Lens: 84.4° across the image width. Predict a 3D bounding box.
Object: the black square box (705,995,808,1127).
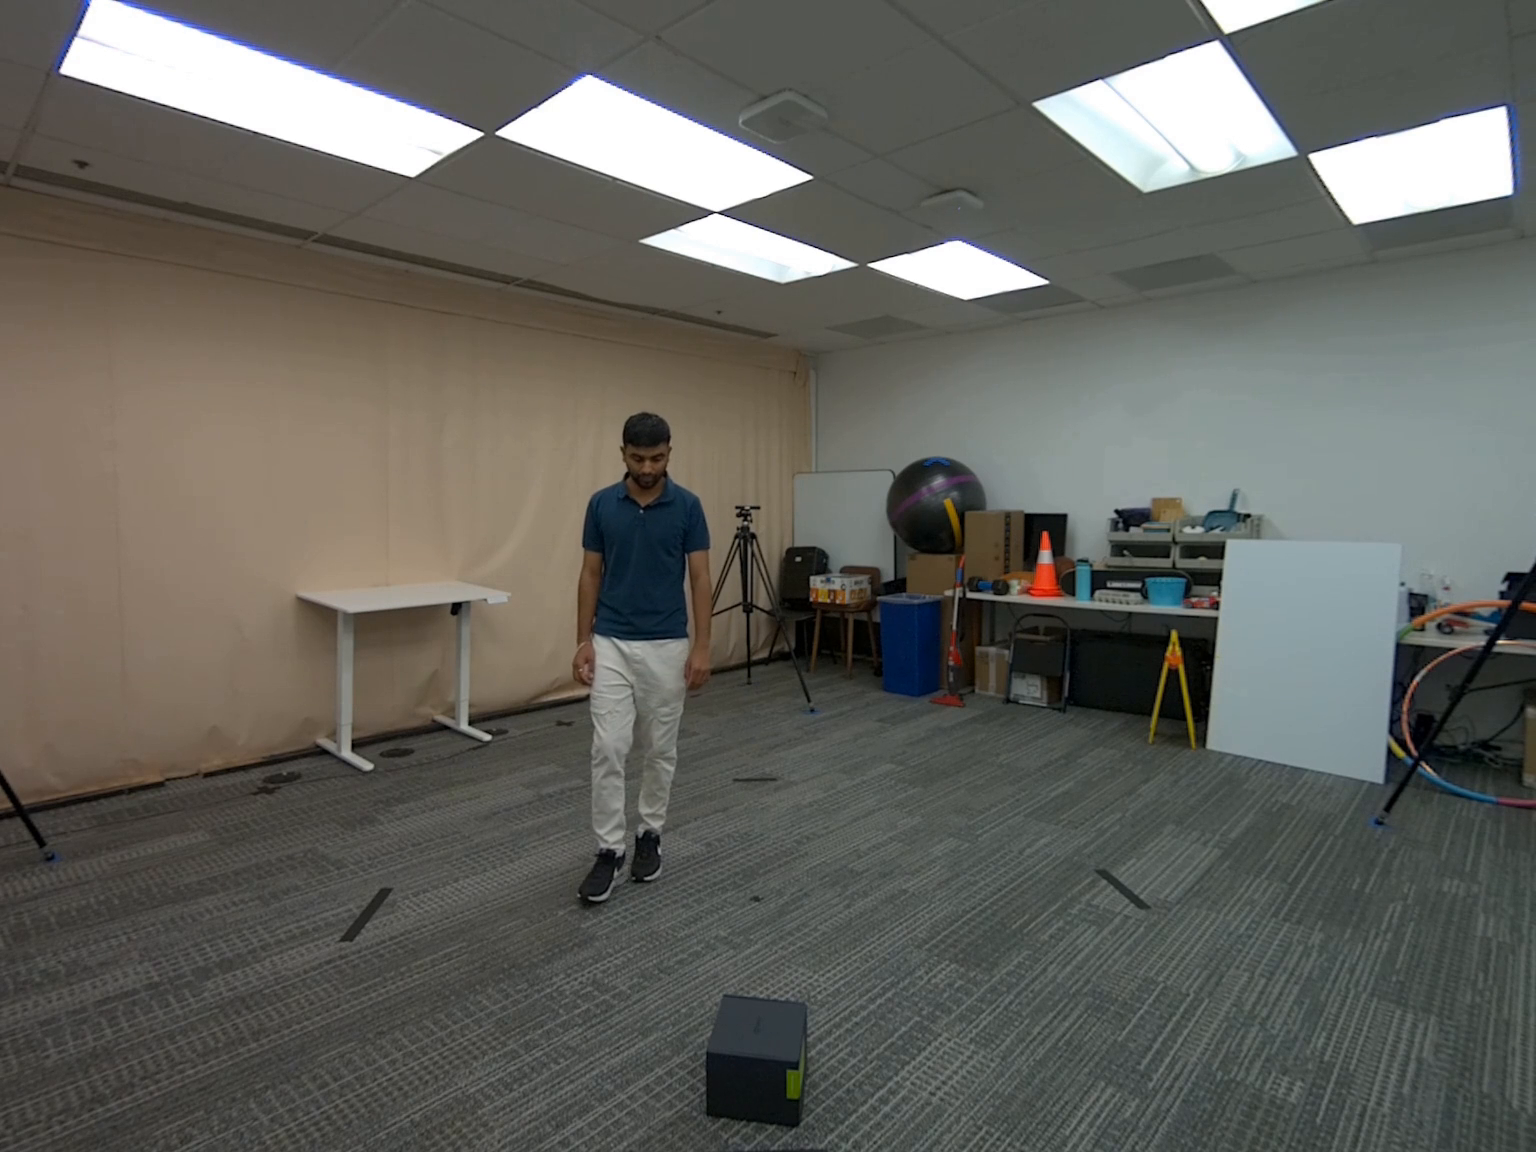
[{"bbox_3d":[-0.017,1.143,2.001,0.219,0.155,0.226,0,4,8],"label":"black square box"}]
